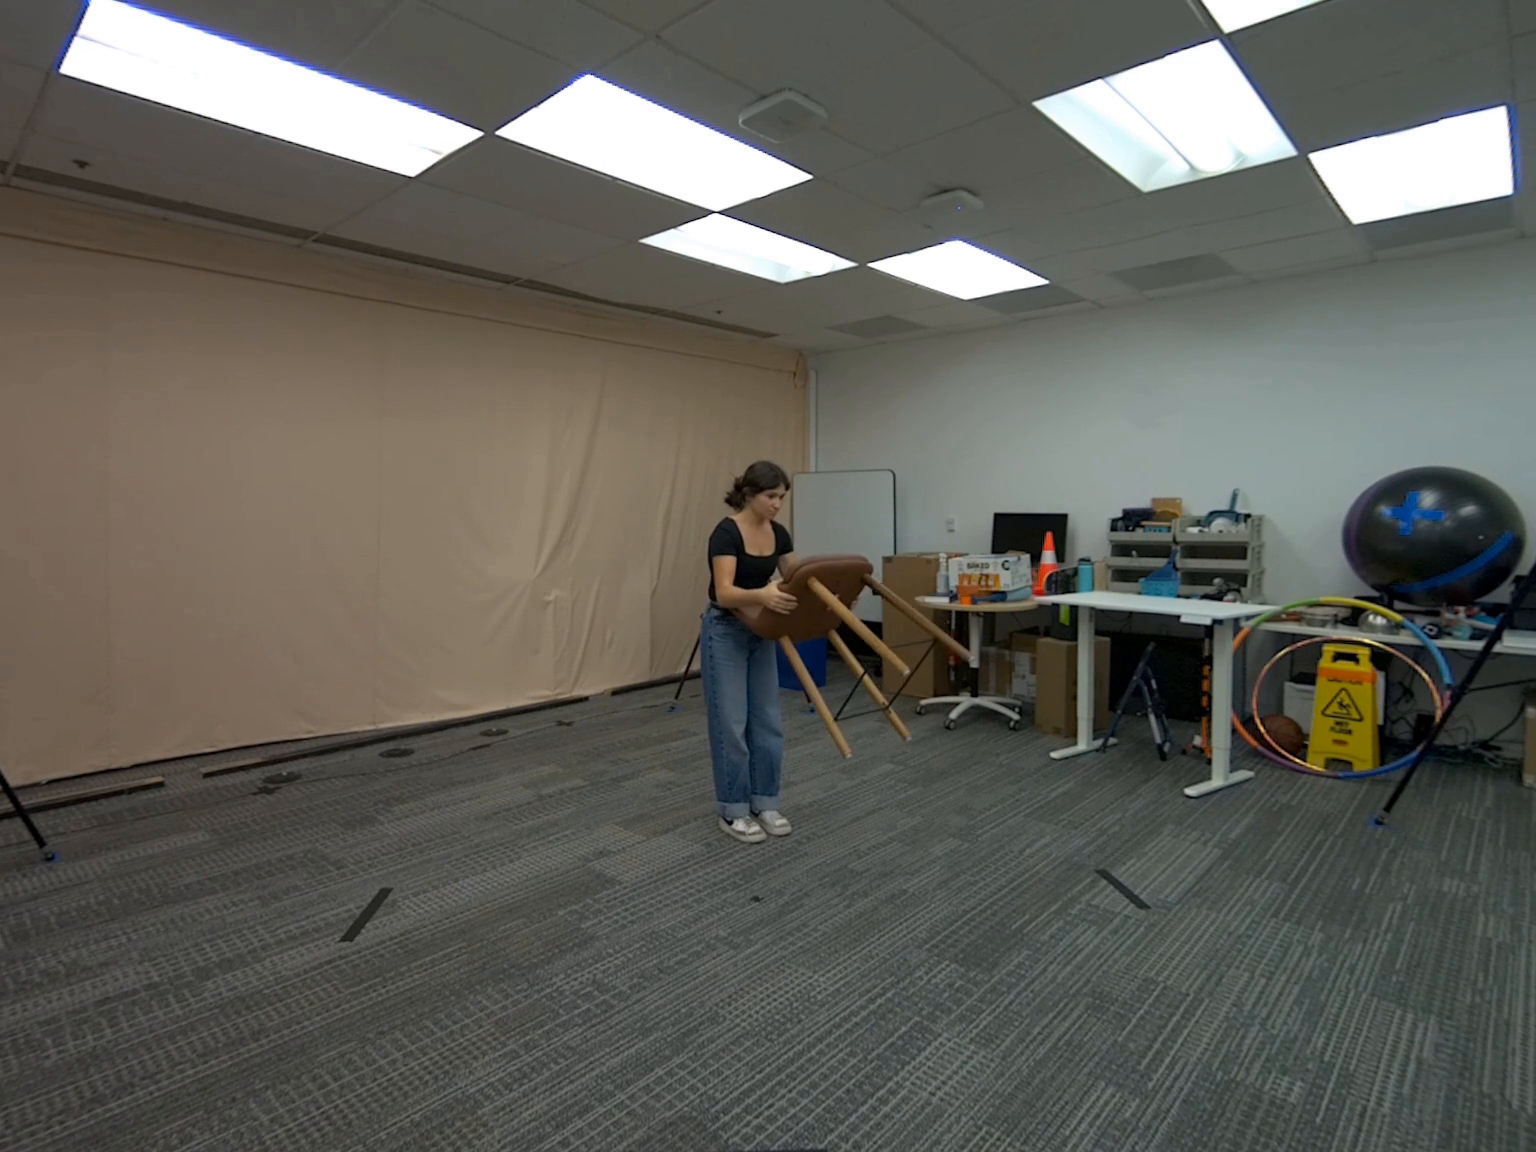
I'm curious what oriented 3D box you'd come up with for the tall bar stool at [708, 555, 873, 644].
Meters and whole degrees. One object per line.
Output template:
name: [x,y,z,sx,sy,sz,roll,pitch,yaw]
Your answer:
tall bar stool: [0.264,0.199,3.235,0.442,0.466,0.920,-3,40,-42]
